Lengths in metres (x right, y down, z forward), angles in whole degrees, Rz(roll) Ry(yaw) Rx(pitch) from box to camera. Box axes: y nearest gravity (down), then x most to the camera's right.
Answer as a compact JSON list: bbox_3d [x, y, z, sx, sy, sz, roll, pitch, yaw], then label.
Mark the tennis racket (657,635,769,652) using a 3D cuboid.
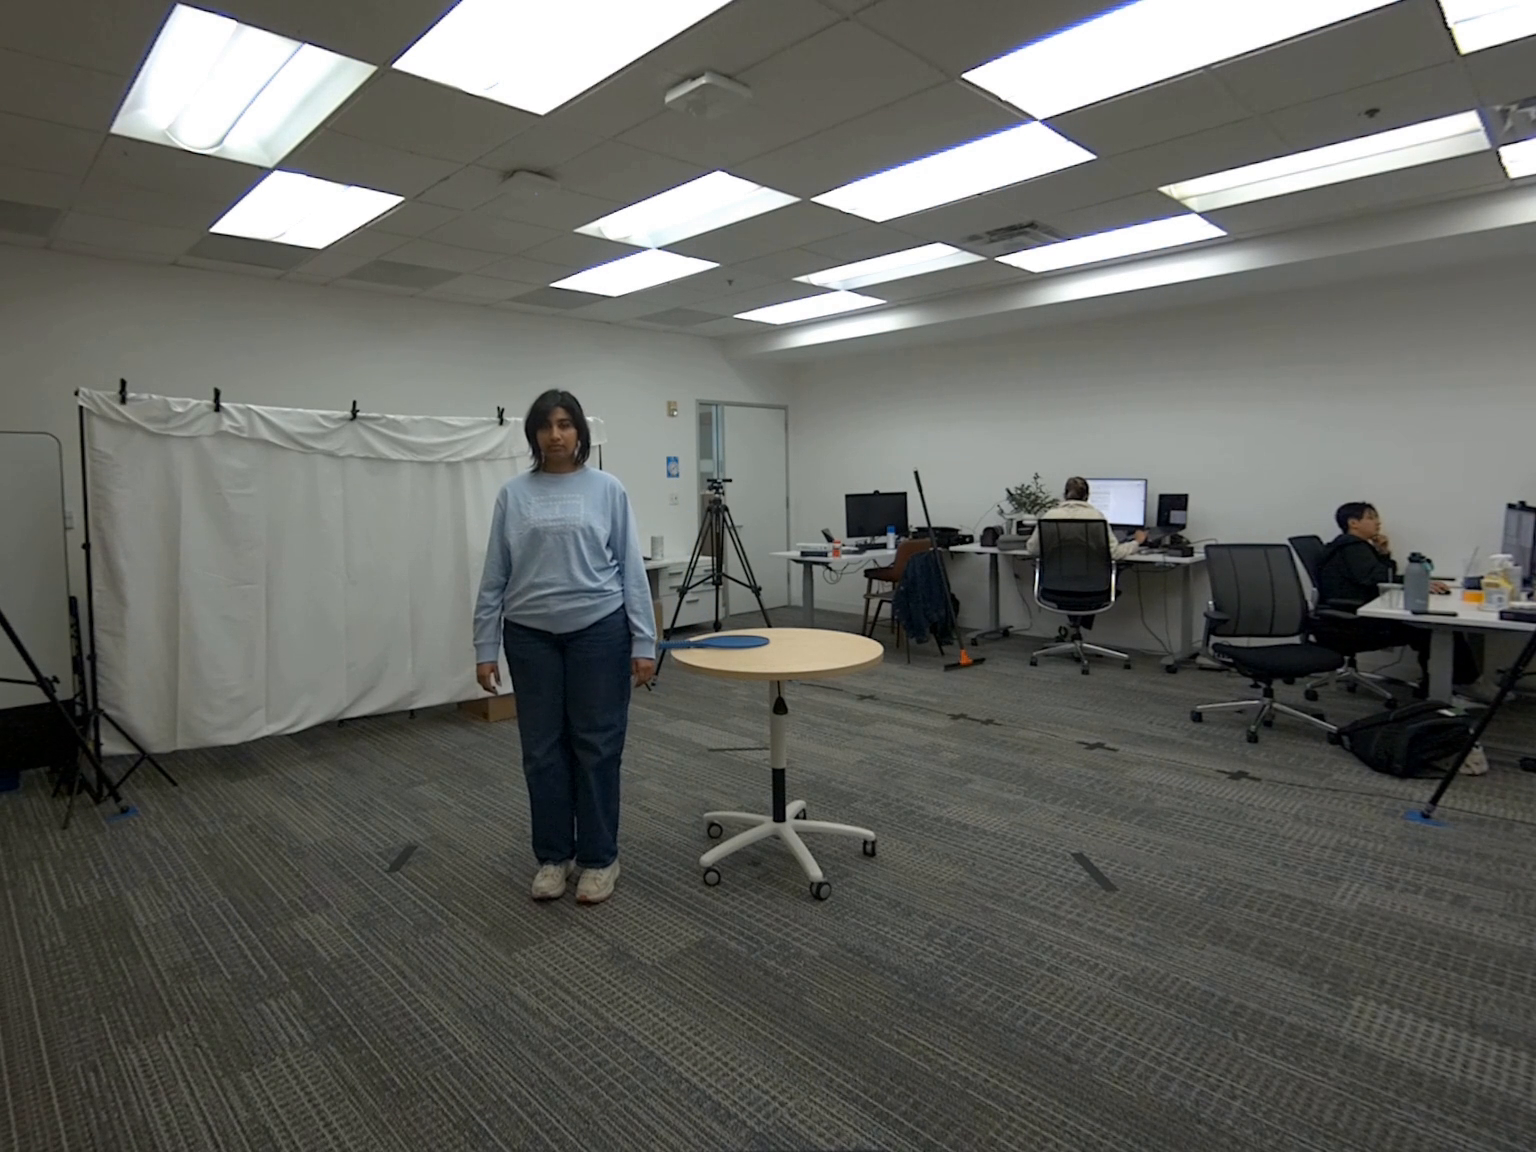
[{"bbox_3d":[-0.208,0.247,3.174,0.425,0.031,0.218,-2,8,-19],"label":"tennis racket"}]
